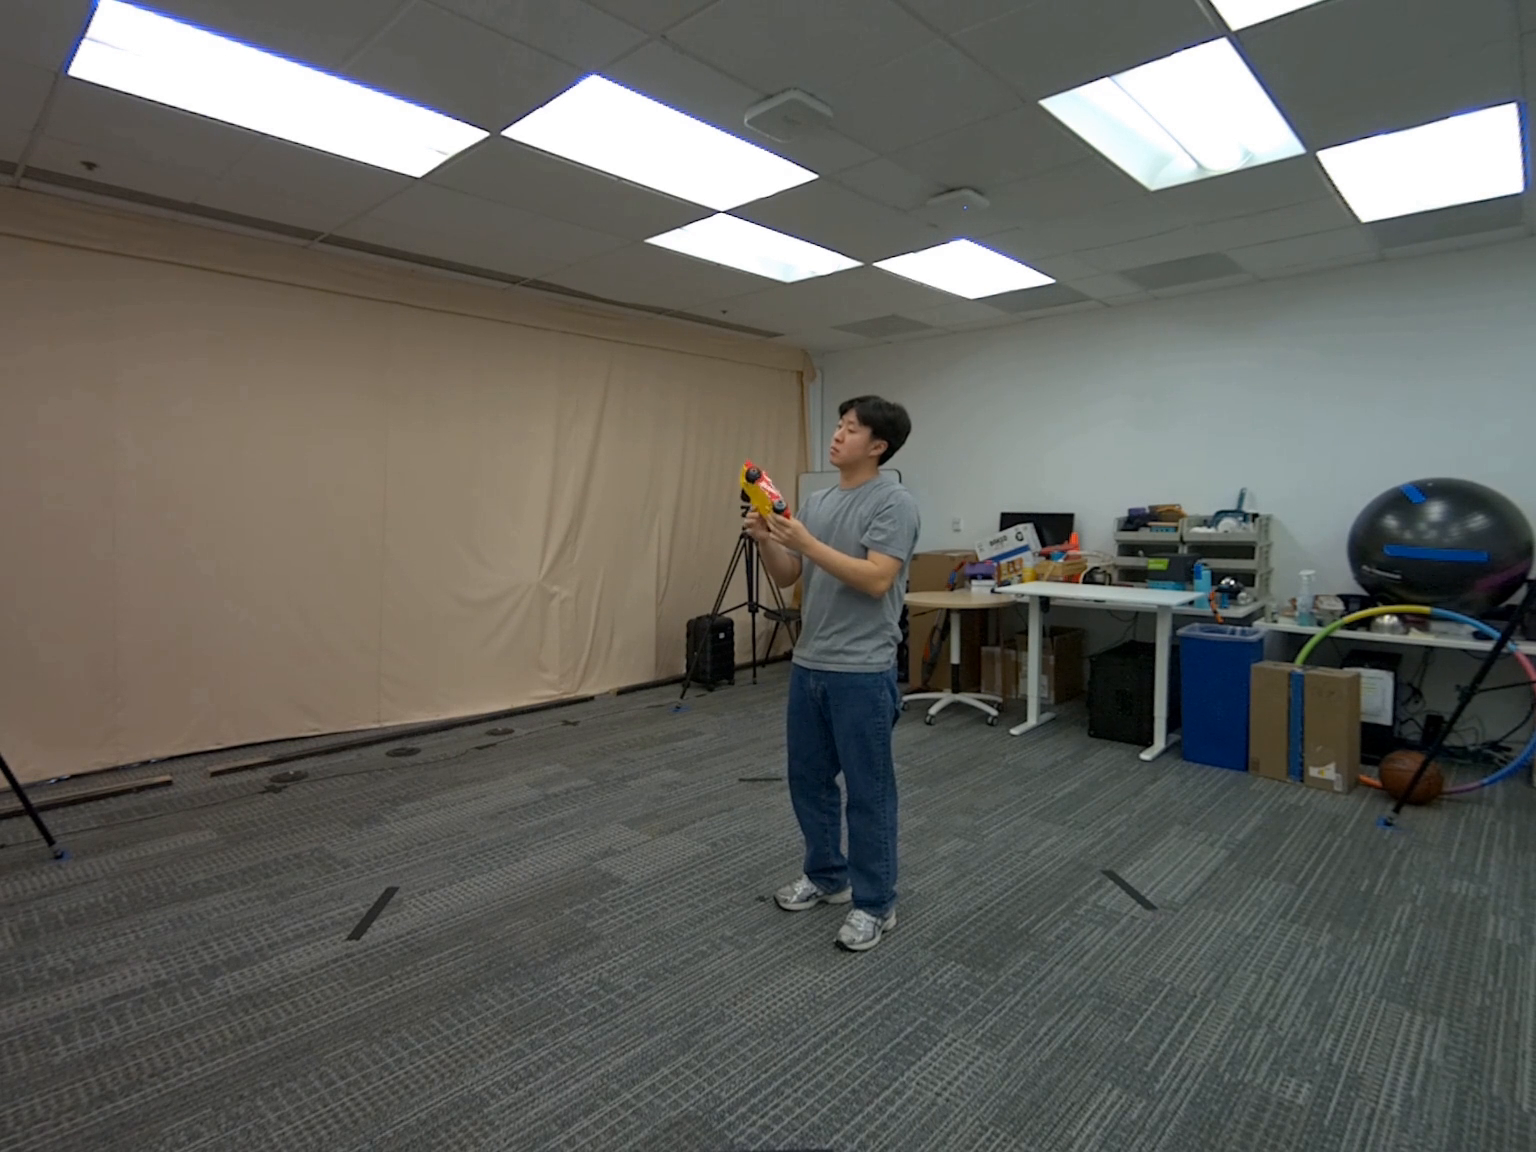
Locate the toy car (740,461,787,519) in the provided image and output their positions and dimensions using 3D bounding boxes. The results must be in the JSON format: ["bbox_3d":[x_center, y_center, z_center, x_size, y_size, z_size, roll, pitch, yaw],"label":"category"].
[{"bbox_3d":[-0.008,-0.248,2.612,0.082,0.262,0.129,-13,-34,-22],"label":"toy car"}]
